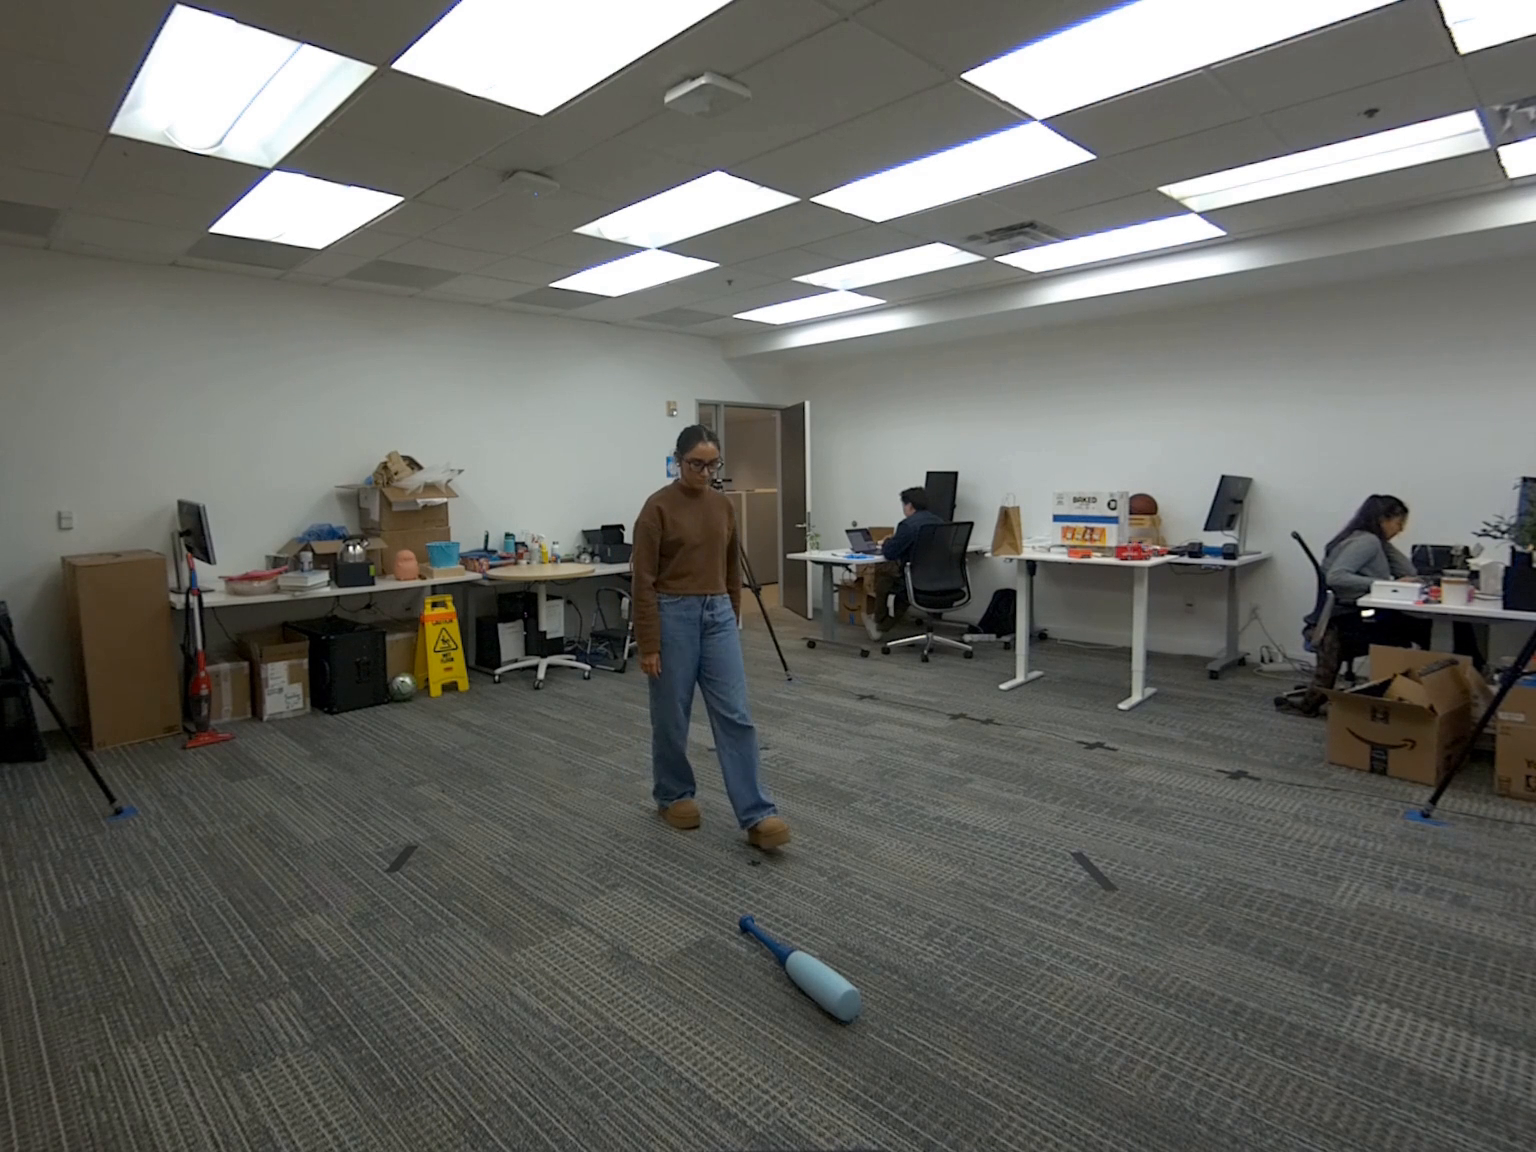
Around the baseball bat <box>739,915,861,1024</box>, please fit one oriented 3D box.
[{"bbox_3d":[0.075,1.089,2.414,0.087,0.089,0.556,-4,3,-30],"label":"baseball bat"}]
